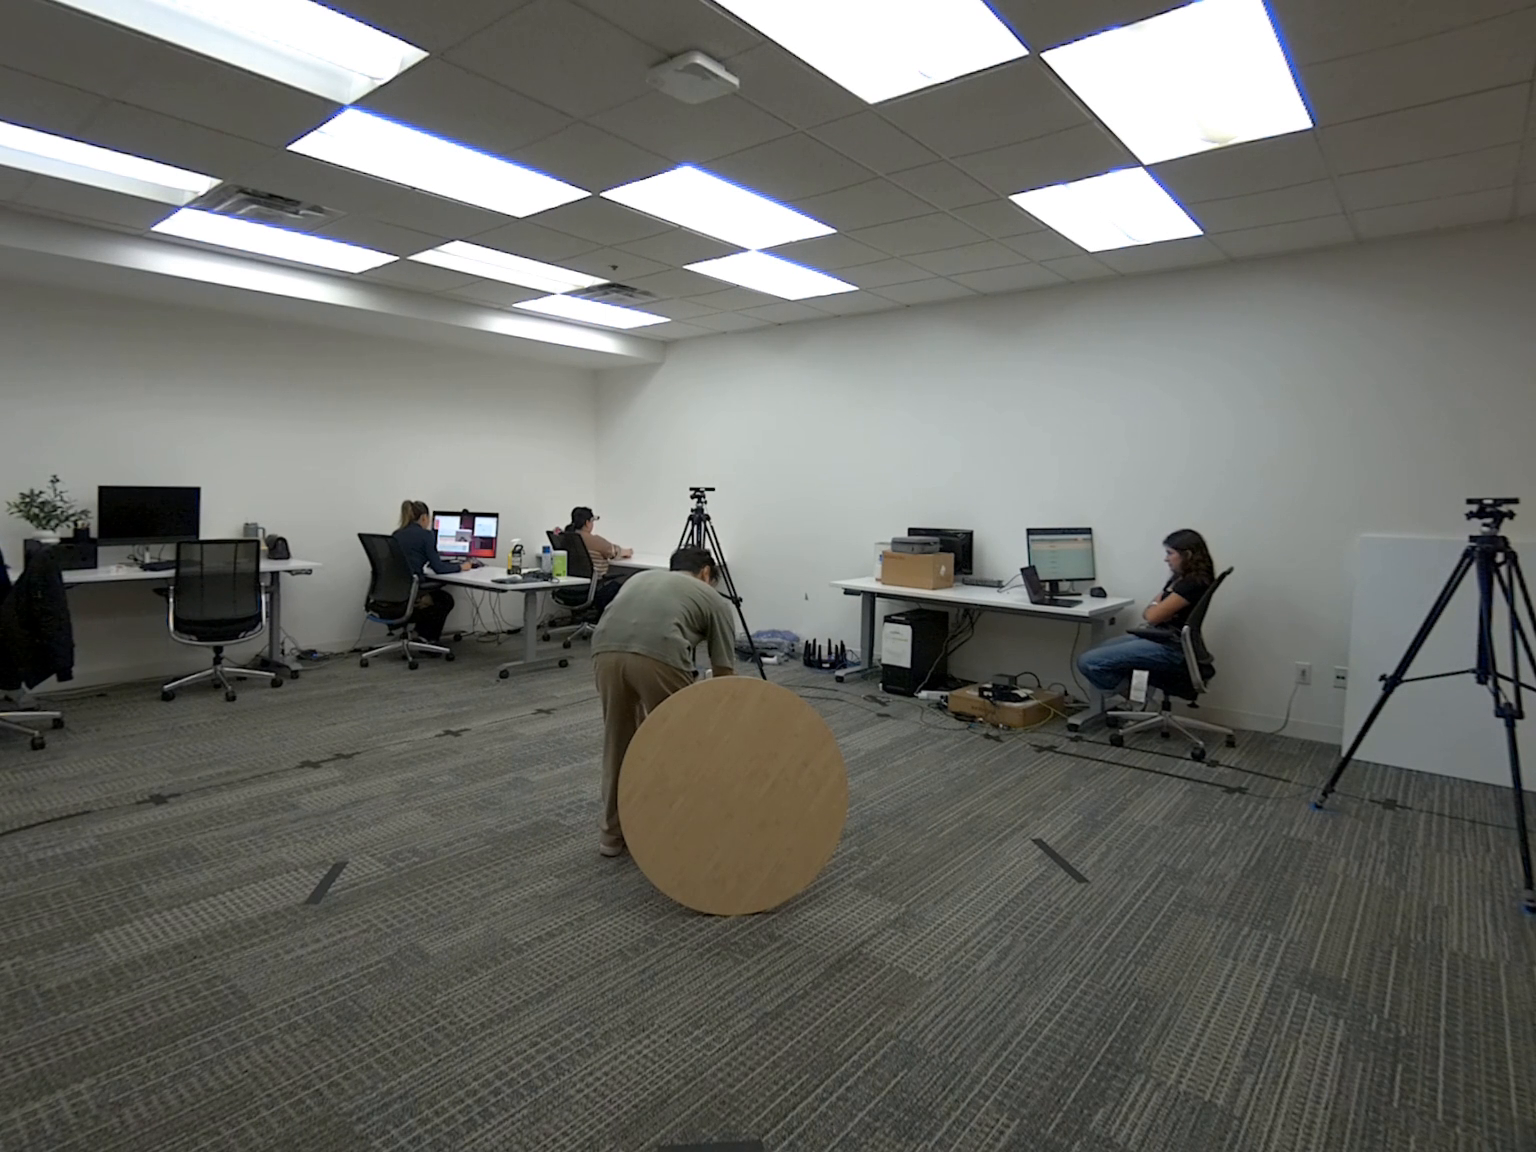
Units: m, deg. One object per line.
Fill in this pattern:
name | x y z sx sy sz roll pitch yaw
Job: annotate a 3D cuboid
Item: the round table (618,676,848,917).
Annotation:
round table | -0.183 0.716 3.190 0.778 0.788 0.792 0 -2 -9
